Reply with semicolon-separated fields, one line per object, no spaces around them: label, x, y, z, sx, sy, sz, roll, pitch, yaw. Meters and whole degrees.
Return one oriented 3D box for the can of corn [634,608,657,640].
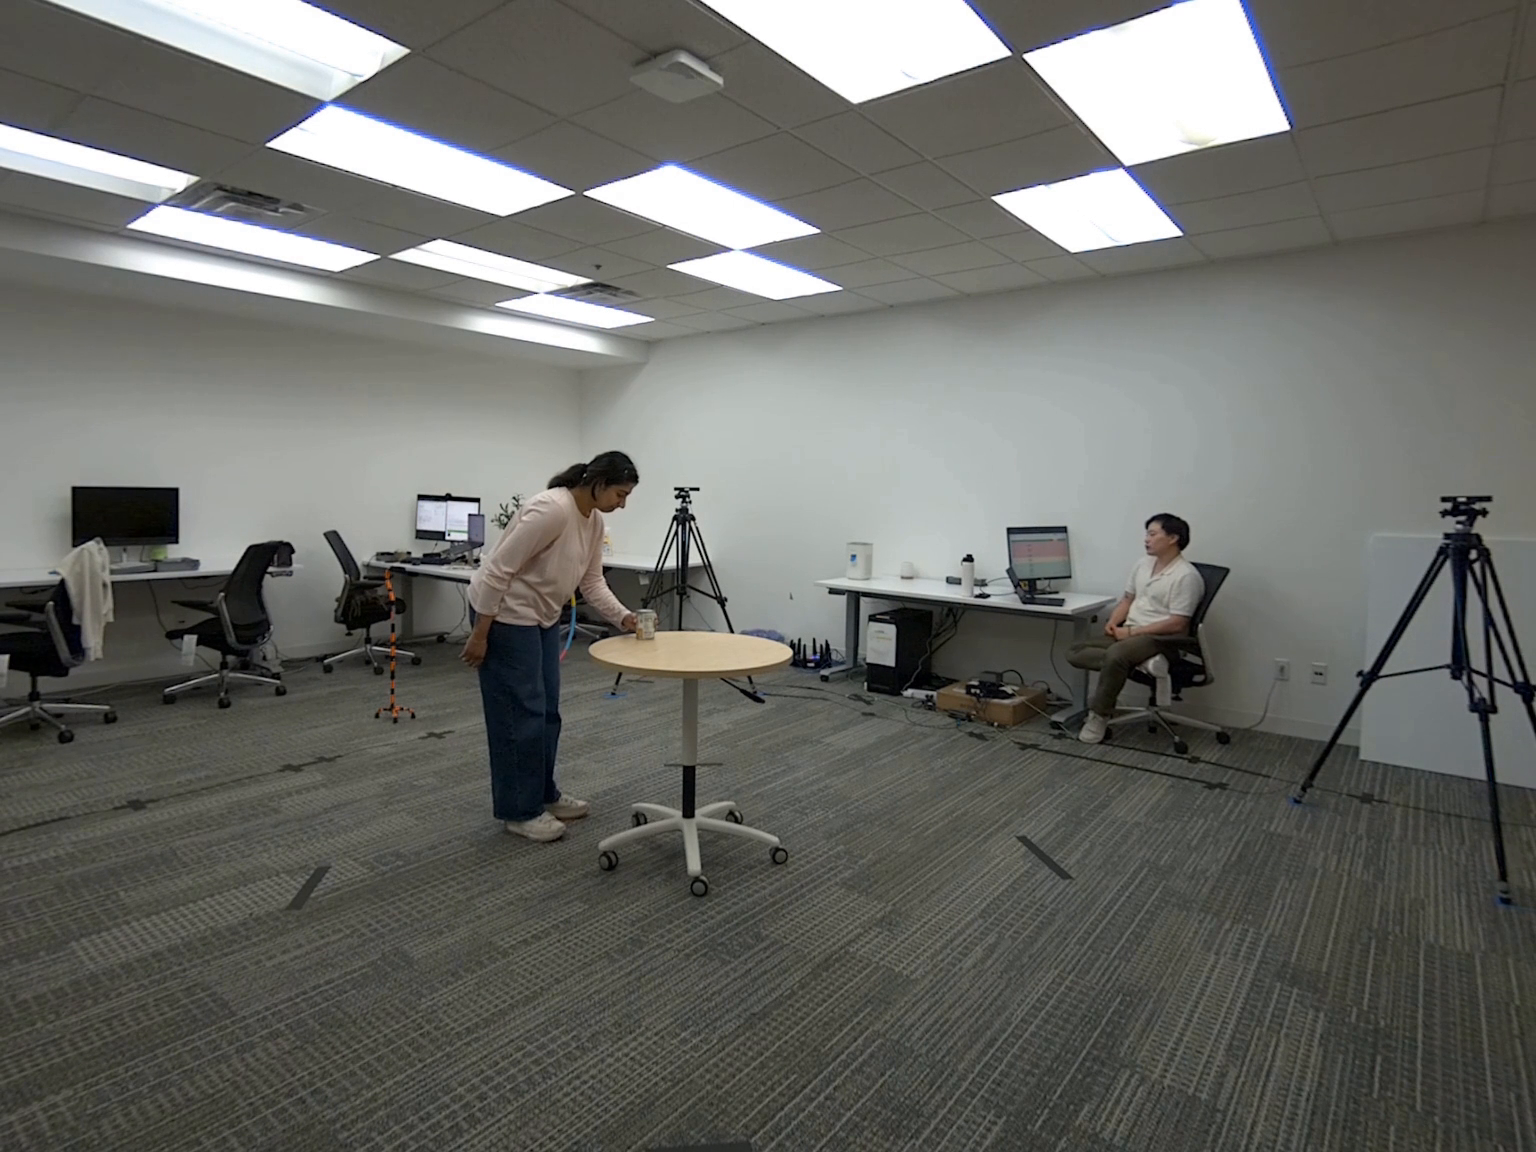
can of corn;-0.525;0.196;3.439;0.074;0.111;0.074;-1;0;-2
